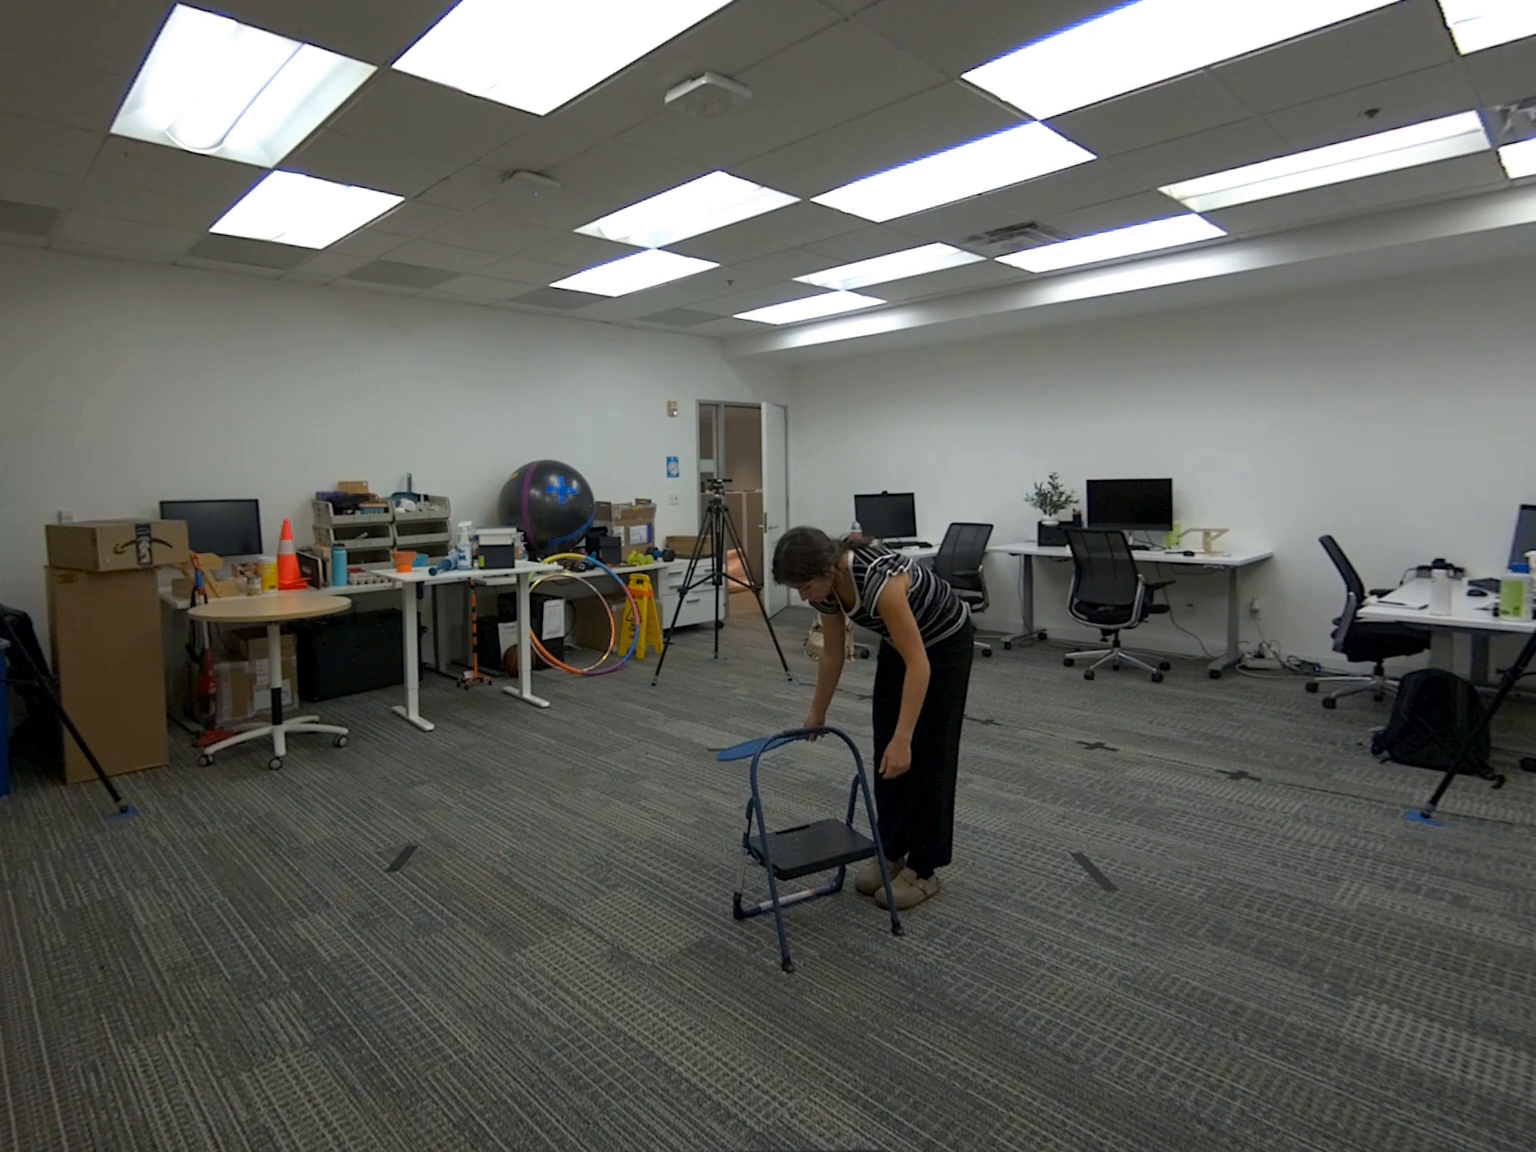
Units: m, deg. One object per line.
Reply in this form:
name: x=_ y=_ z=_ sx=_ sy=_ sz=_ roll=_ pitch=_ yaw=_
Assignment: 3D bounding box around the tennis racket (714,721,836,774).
tennis racket: x=0.028 y=0.624 z=3.138 sx=0.436 sy=0.032 sz=0.212 roll=-17 pitch=2 yaw=10
